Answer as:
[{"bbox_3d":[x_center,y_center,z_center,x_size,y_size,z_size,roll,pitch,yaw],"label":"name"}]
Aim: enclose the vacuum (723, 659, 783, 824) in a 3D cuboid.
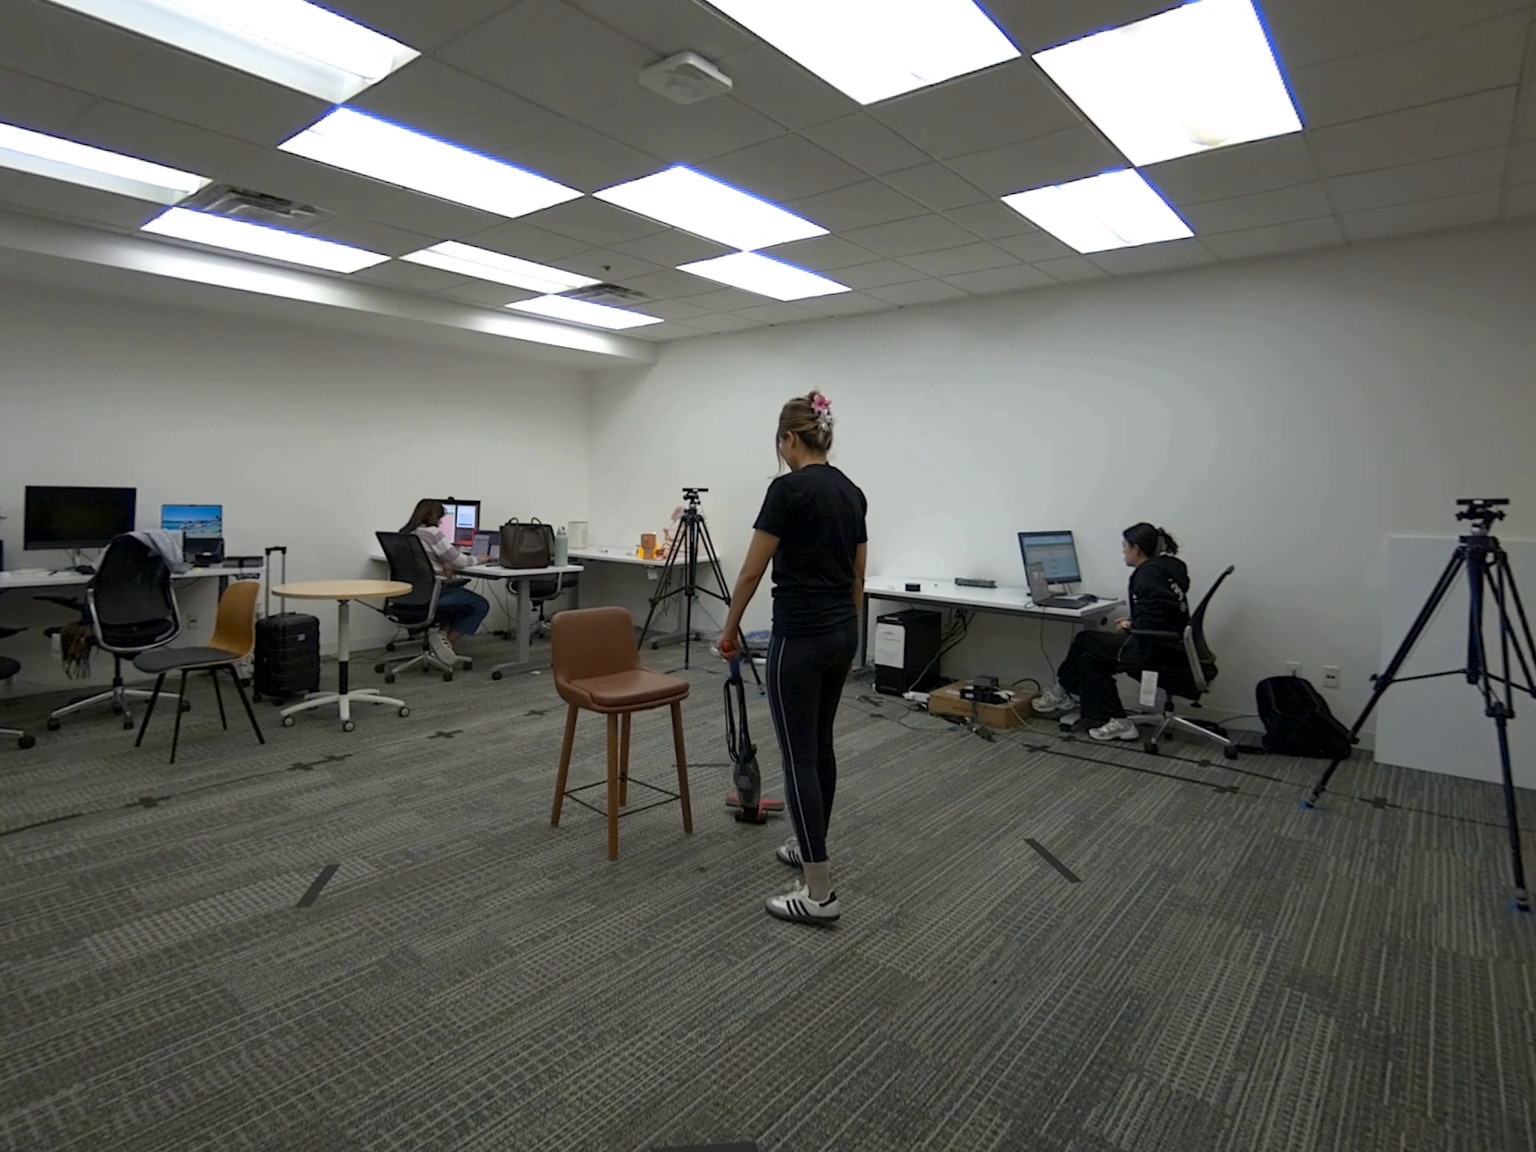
[{"bbox_3d":[-0.121,0.627,3.280,0.257,1.014,0.146,5,44,15],"label":"vacuum"}]
